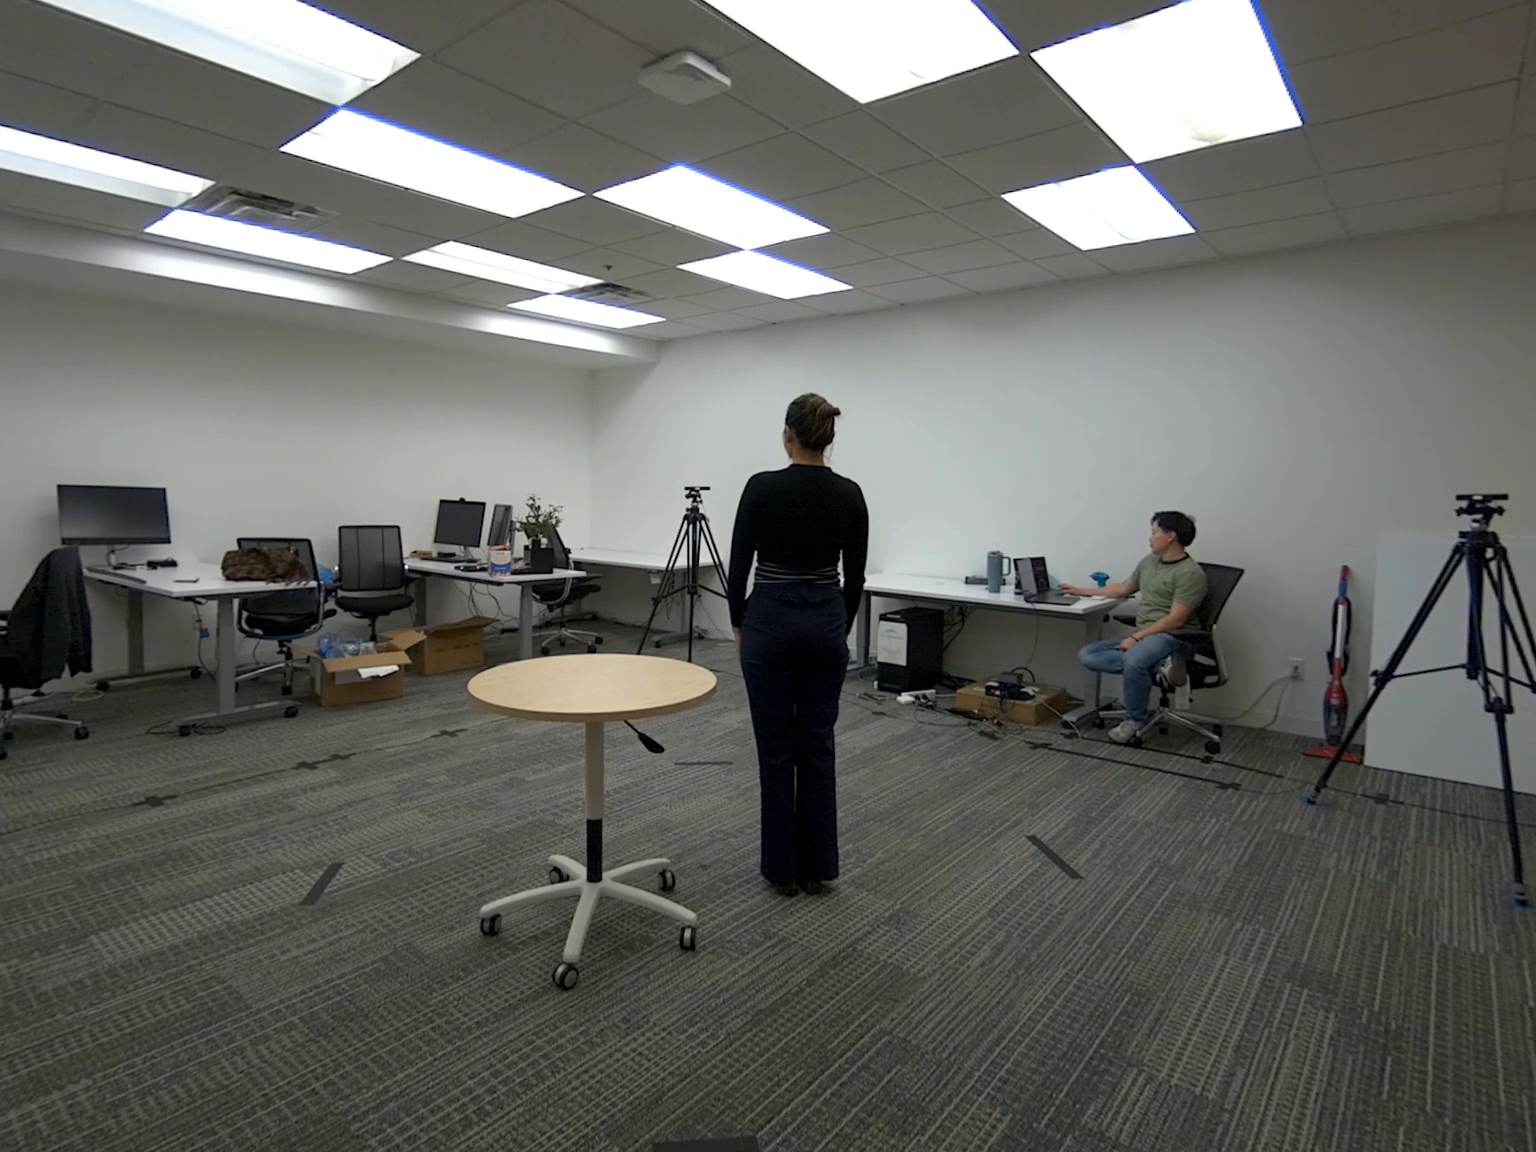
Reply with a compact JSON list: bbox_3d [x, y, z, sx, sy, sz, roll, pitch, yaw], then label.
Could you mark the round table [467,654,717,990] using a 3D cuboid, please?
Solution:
[{"bbox_3d":[-0.552,0.716,2.676,0.763,0.791,0.768,0,5,-2],"label":"round table"}]
